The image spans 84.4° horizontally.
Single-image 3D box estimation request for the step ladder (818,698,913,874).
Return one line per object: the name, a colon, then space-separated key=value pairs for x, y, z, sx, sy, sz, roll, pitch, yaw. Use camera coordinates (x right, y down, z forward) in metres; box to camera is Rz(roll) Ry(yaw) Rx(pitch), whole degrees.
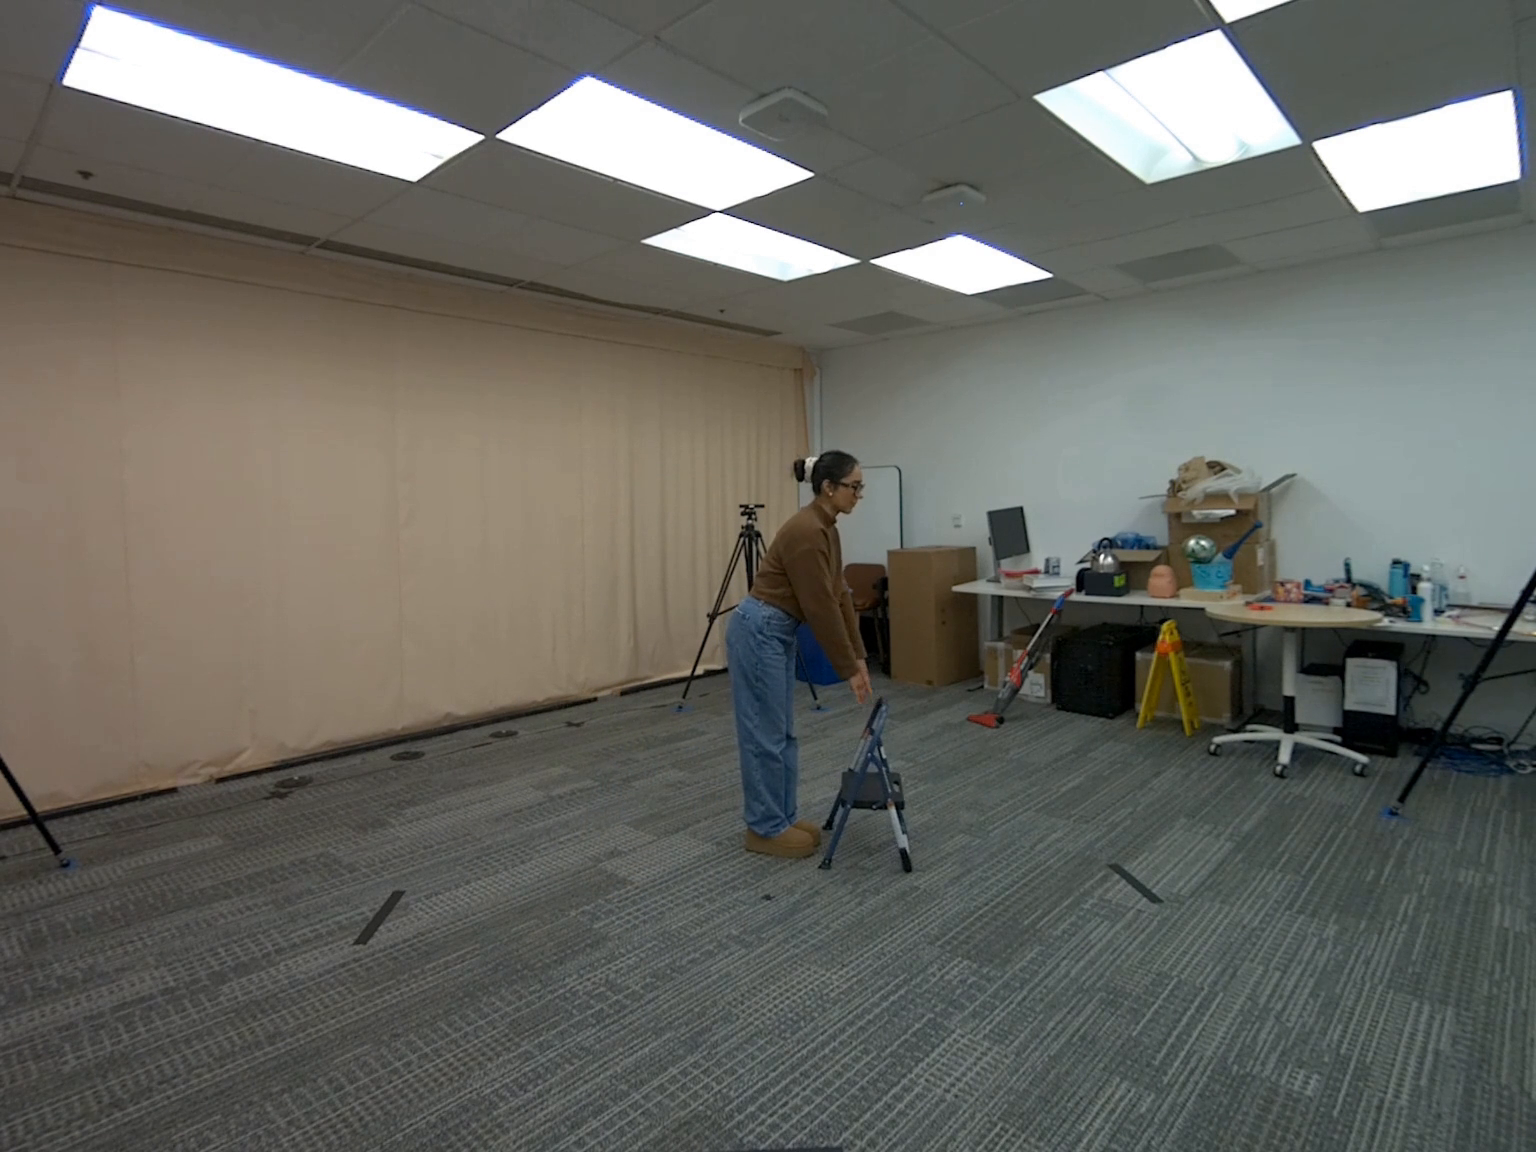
step ladder: x=0.387 y=0.796 z=3.368 sx=0.352 sy=0.605 sz=0.428 roll=-1 pitch=3 yaw=7
